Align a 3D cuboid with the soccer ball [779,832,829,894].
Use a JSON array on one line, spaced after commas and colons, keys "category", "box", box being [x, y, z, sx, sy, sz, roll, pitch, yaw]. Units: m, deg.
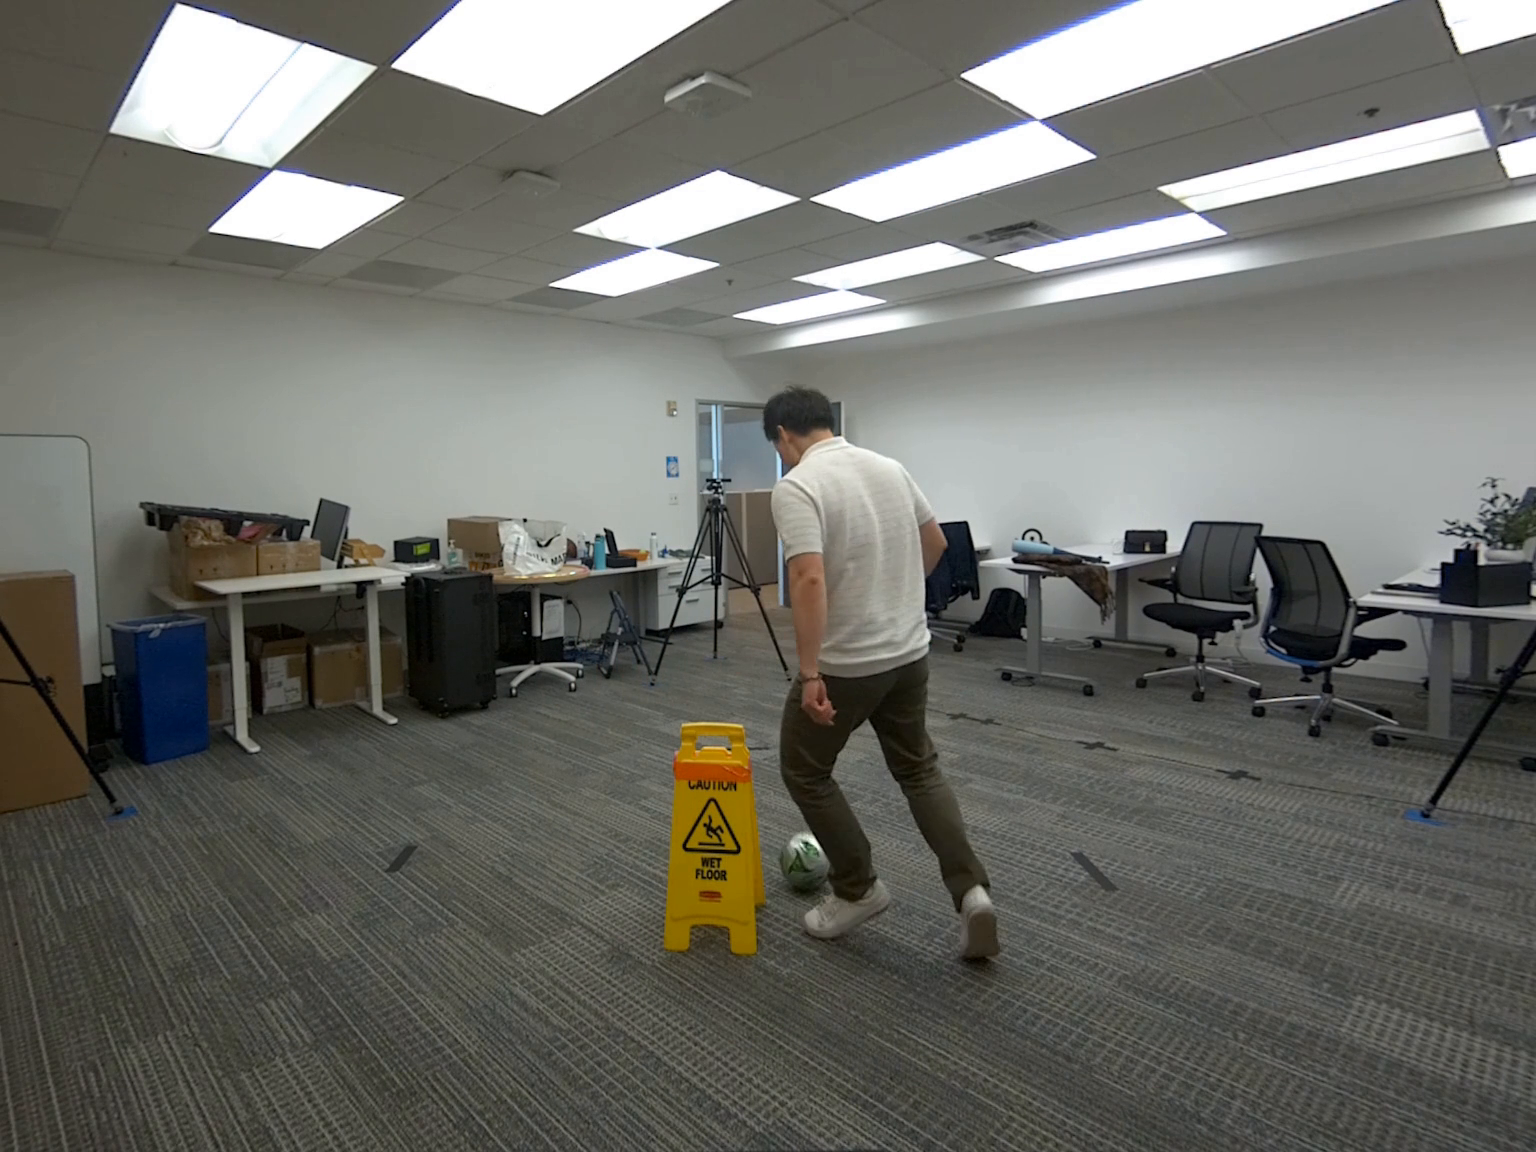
[{"category": "soccer ball", "box": [0.137, 0.968, 2.912, 0.187, 0.187, 0.188, -1, 5, -2]}]
